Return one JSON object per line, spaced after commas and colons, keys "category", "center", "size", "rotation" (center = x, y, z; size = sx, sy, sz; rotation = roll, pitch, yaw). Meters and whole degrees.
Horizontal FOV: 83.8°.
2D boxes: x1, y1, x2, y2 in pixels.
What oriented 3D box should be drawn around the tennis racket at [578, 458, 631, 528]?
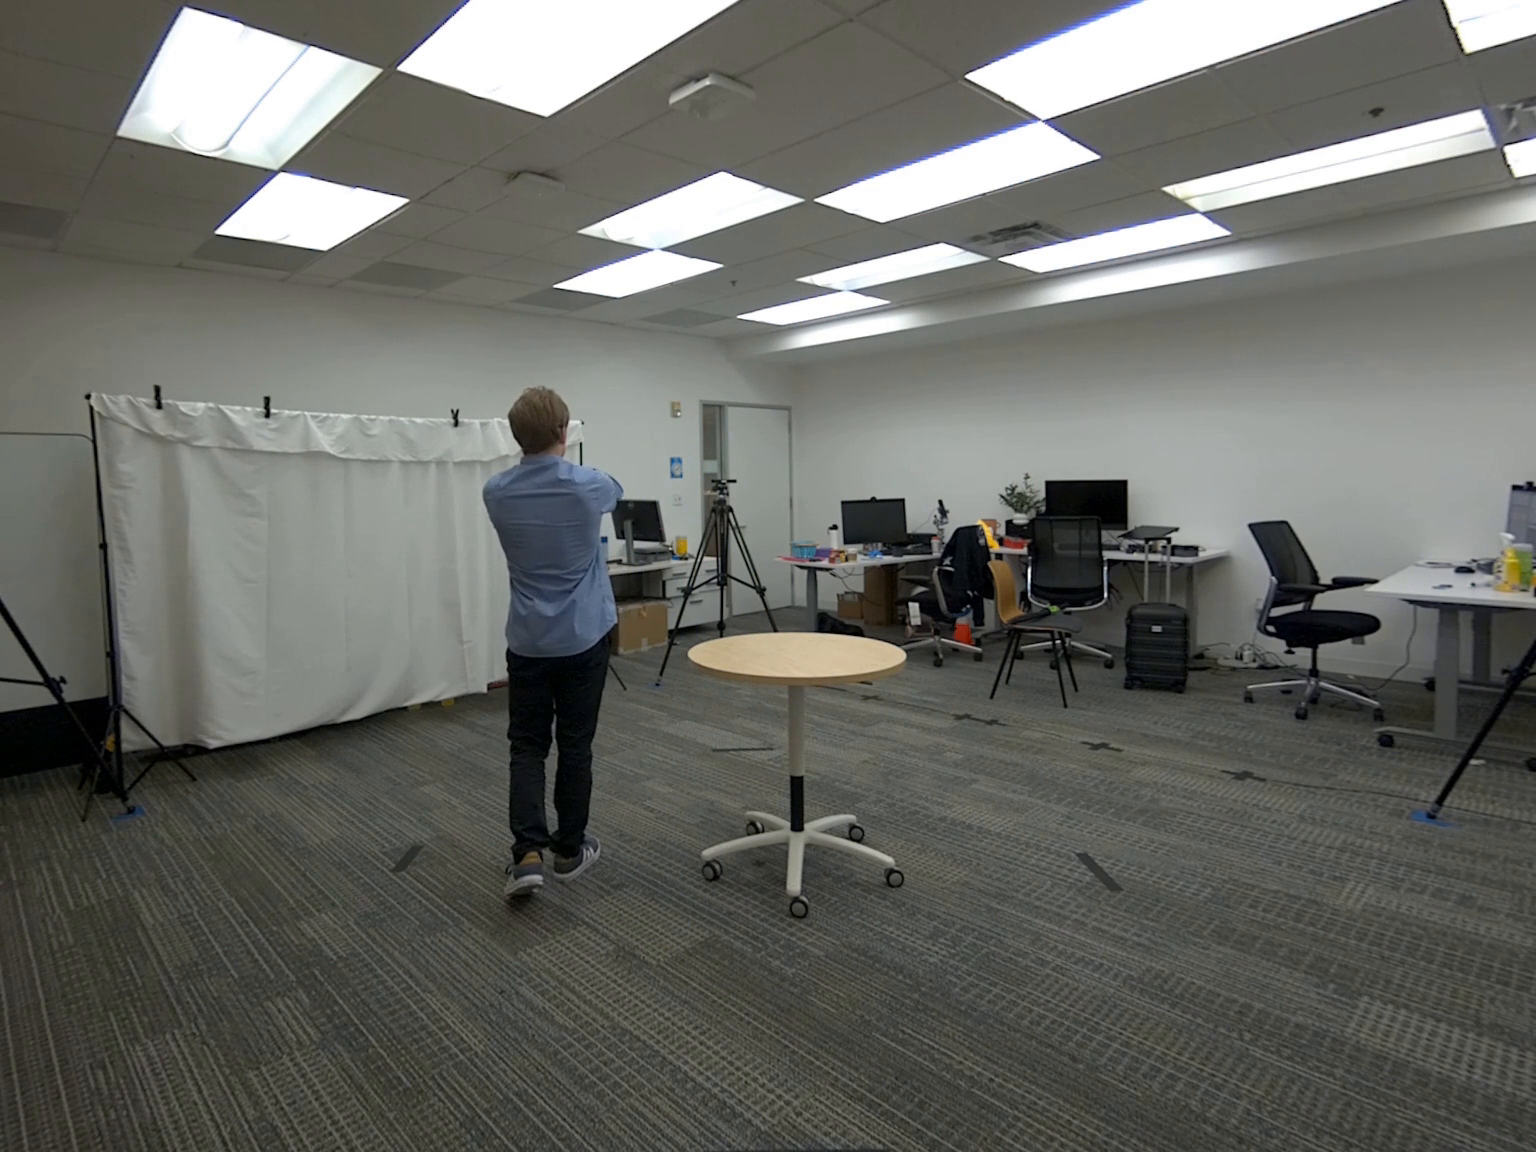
{"category": "tennis racket", "center": [-0.705, -0.362, 3.663], "size": [0.208, 0.031, 0.446], "rotation": [25, 21, -24]}
